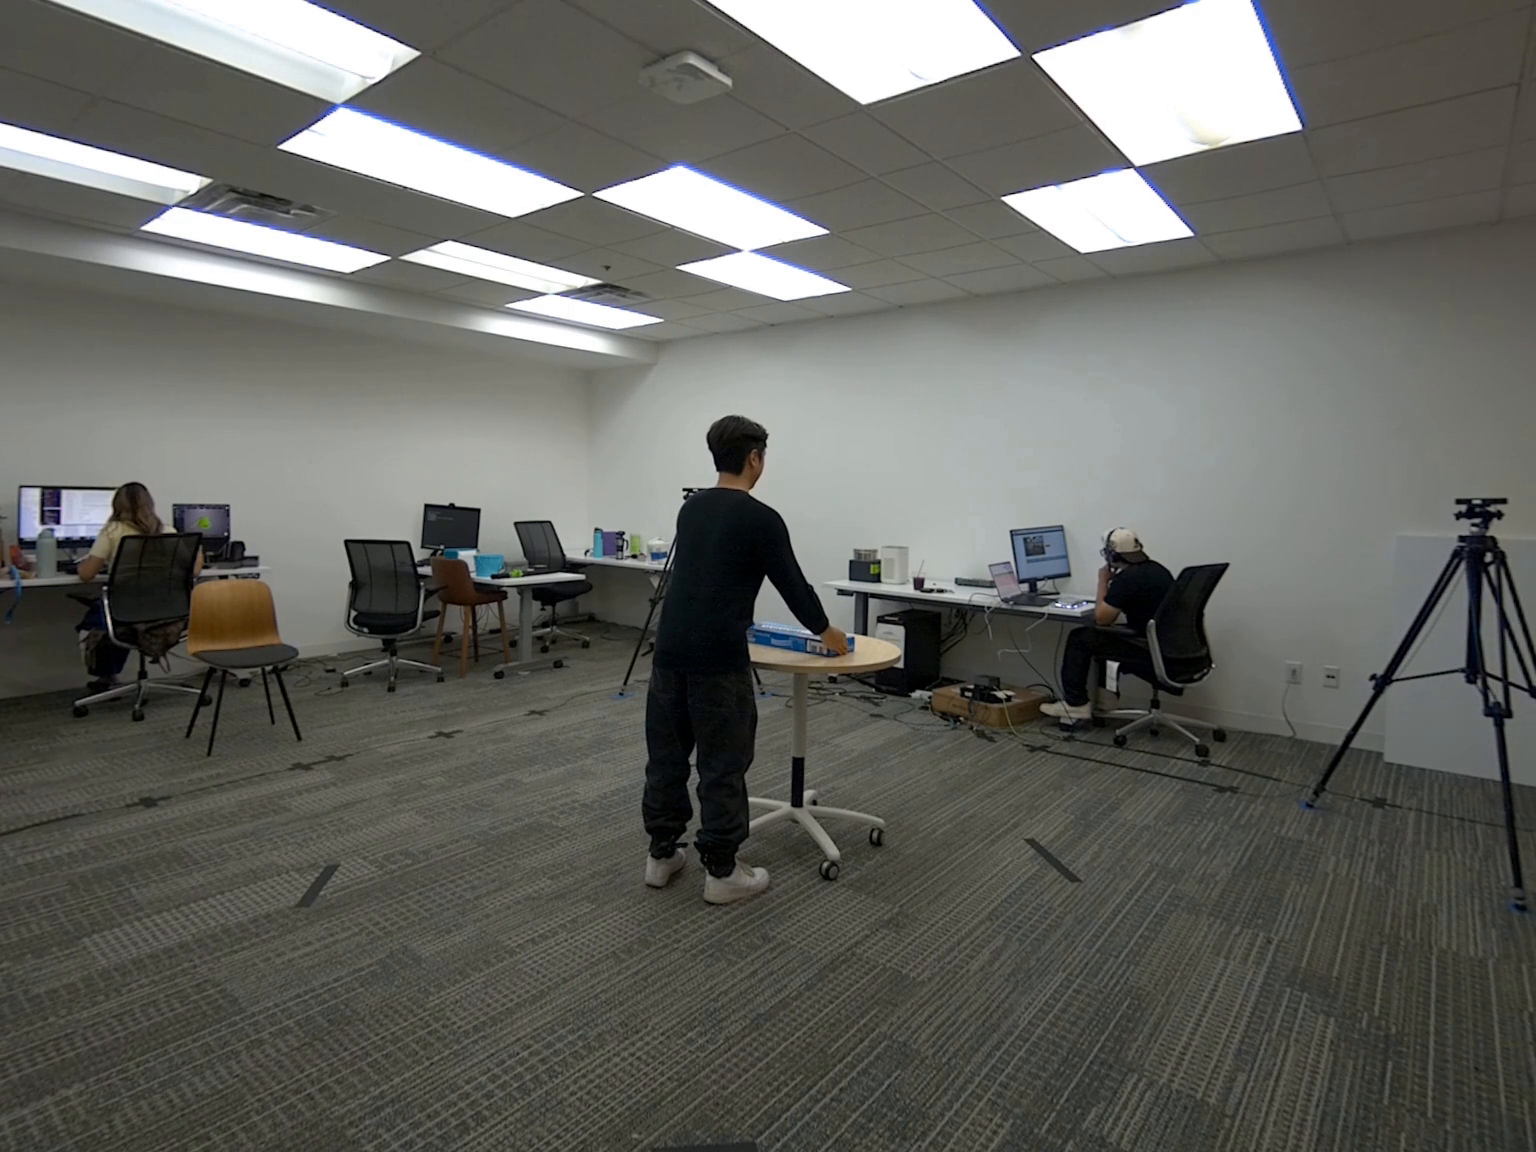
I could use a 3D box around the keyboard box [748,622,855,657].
[{"bbox_3d":[0.093,0.242,3.326,0.452,0.059,0.171,7,7,38],"label":"keyboard box"}]
